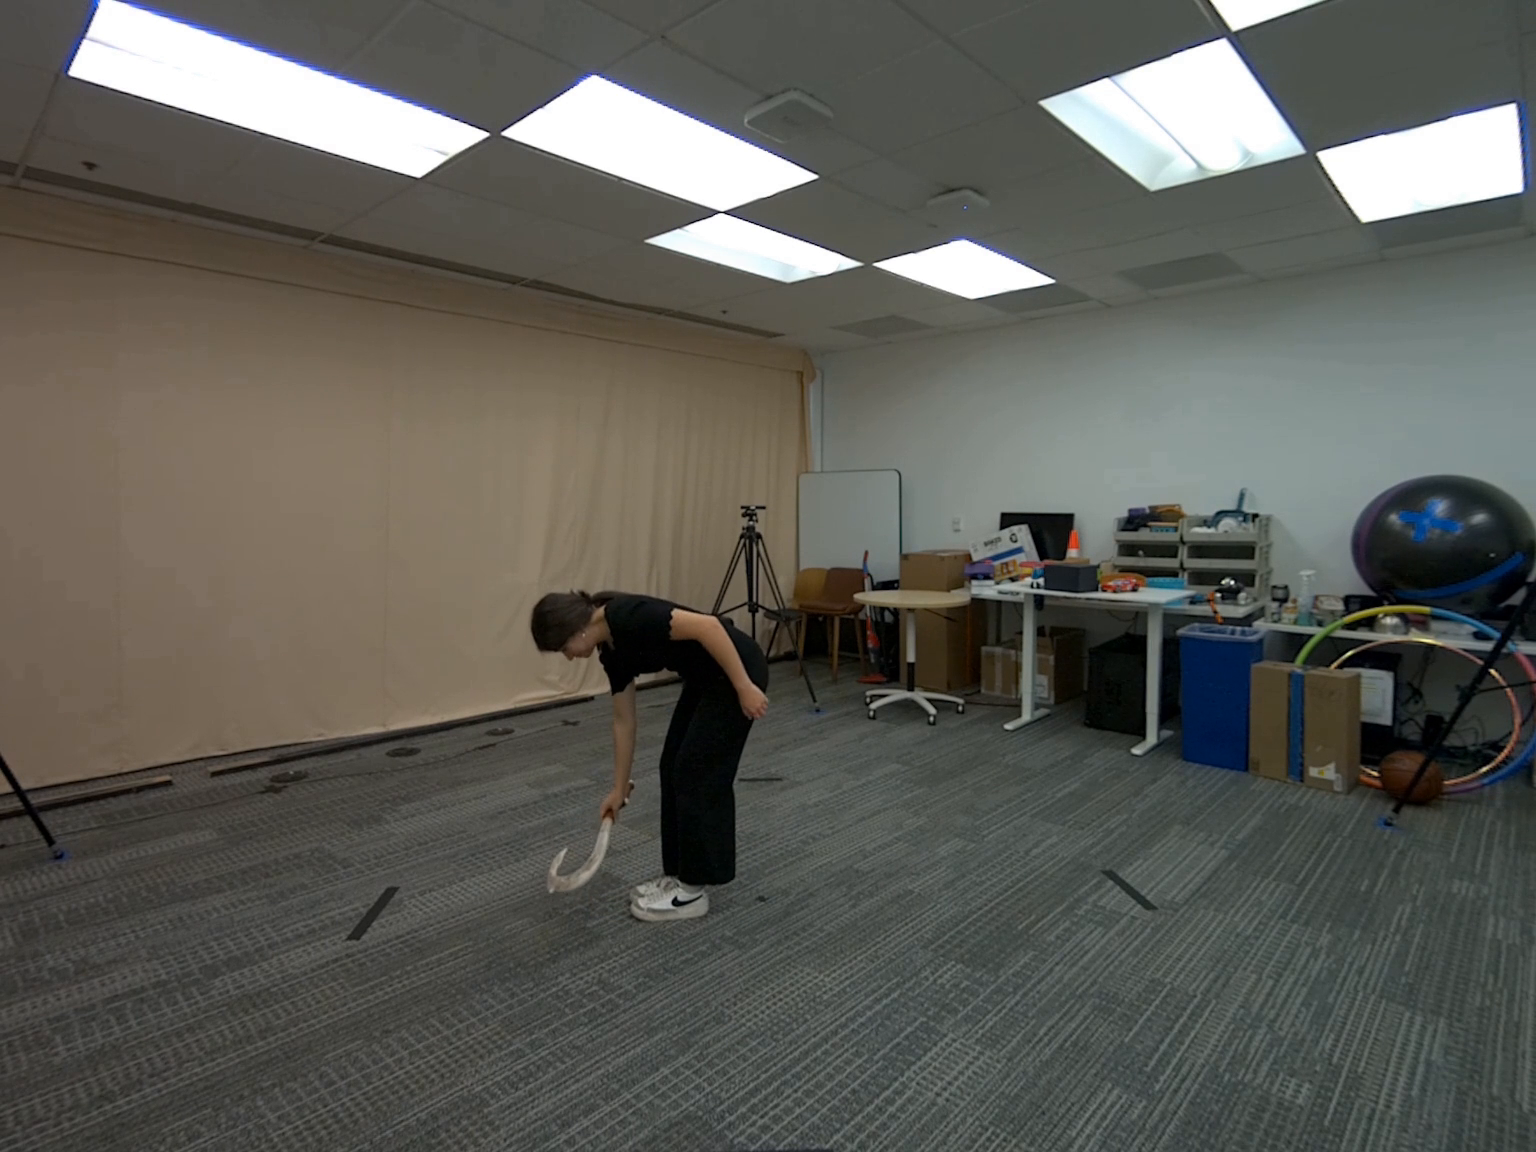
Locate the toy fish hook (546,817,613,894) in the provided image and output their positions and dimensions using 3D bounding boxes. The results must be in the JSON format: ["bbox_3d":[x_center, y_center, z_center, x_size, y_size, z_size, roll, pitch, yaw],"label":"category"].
[{"bbox_3d":[-0.618,0.904,2.968,0.229,0.047,0.506,-13,25,24],"label":"toy fish hook"}]
